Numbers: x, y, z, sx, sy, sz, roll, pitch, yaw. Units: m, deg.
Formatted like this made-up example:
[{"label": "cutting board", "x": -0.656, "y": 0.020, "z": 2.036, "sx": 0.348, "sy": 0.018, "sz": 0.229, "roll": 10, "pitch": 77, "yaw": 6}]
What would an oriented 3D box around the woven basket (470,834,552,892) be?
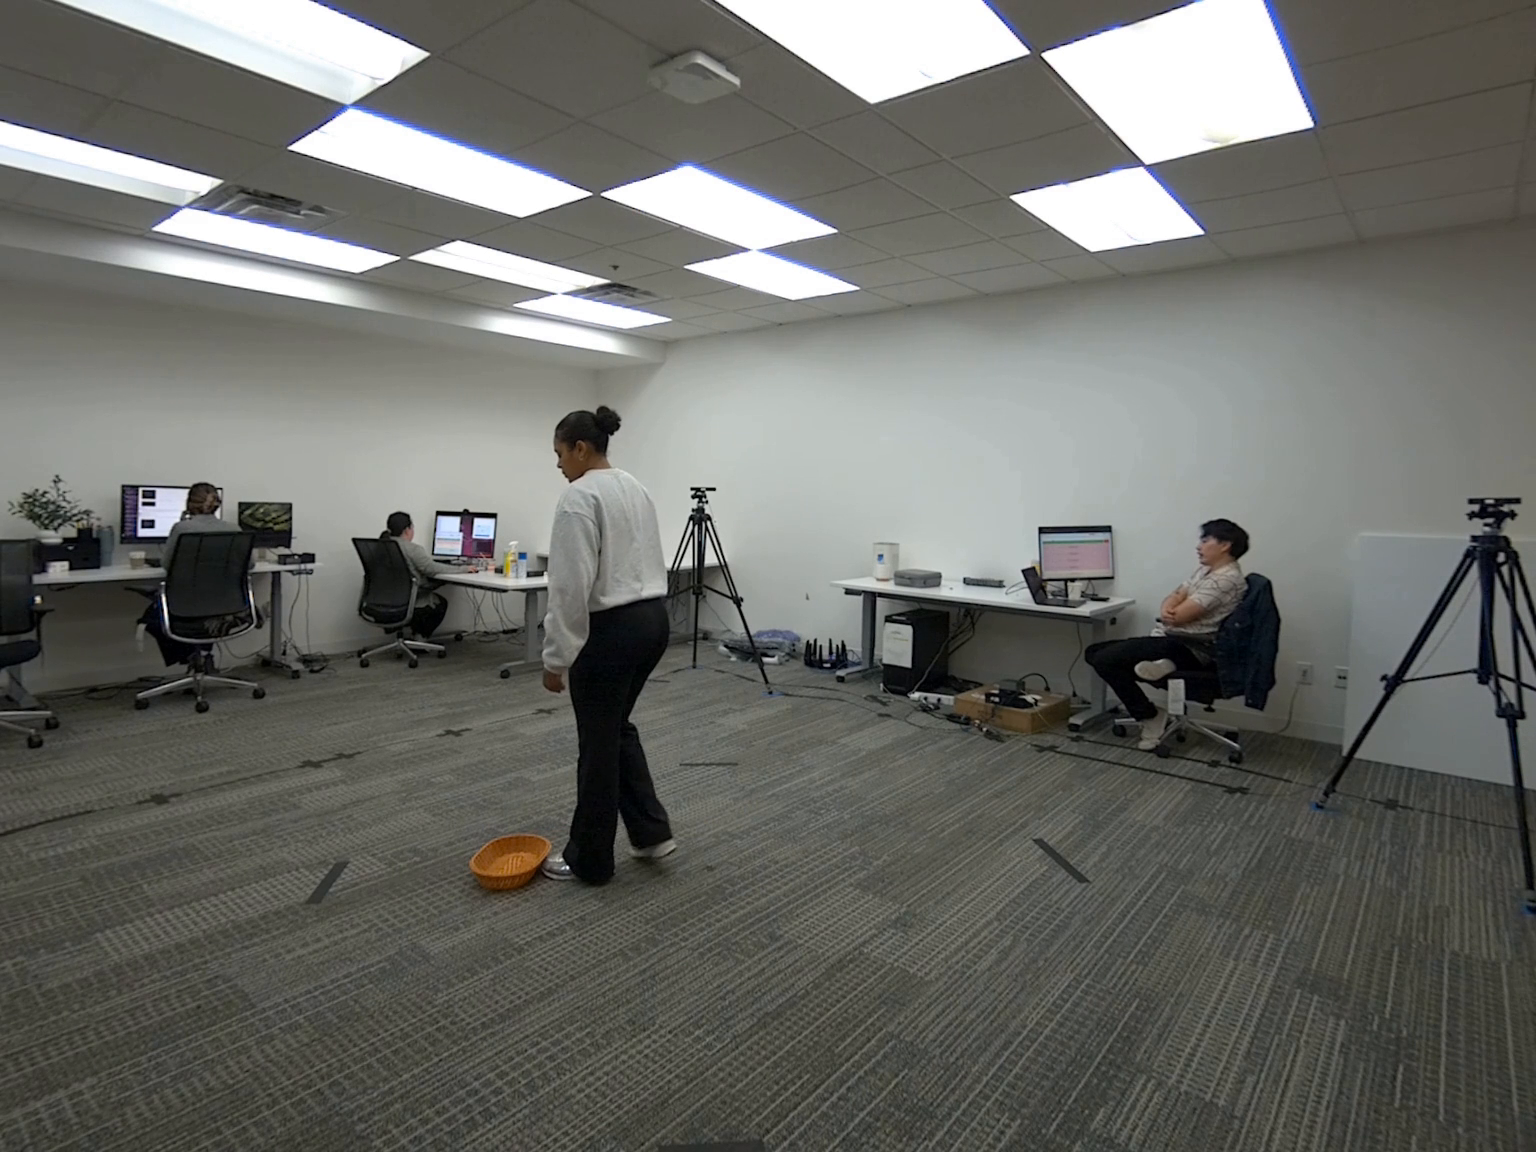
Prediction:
[{"label": "woven basket", "x": -0.929, "y": 1.024, "z": 3.047, "sx": 0.255, "sy": 0.073, "sz": 0.348, "roll": 2, "pitch": 6, "yaw": 8}]
